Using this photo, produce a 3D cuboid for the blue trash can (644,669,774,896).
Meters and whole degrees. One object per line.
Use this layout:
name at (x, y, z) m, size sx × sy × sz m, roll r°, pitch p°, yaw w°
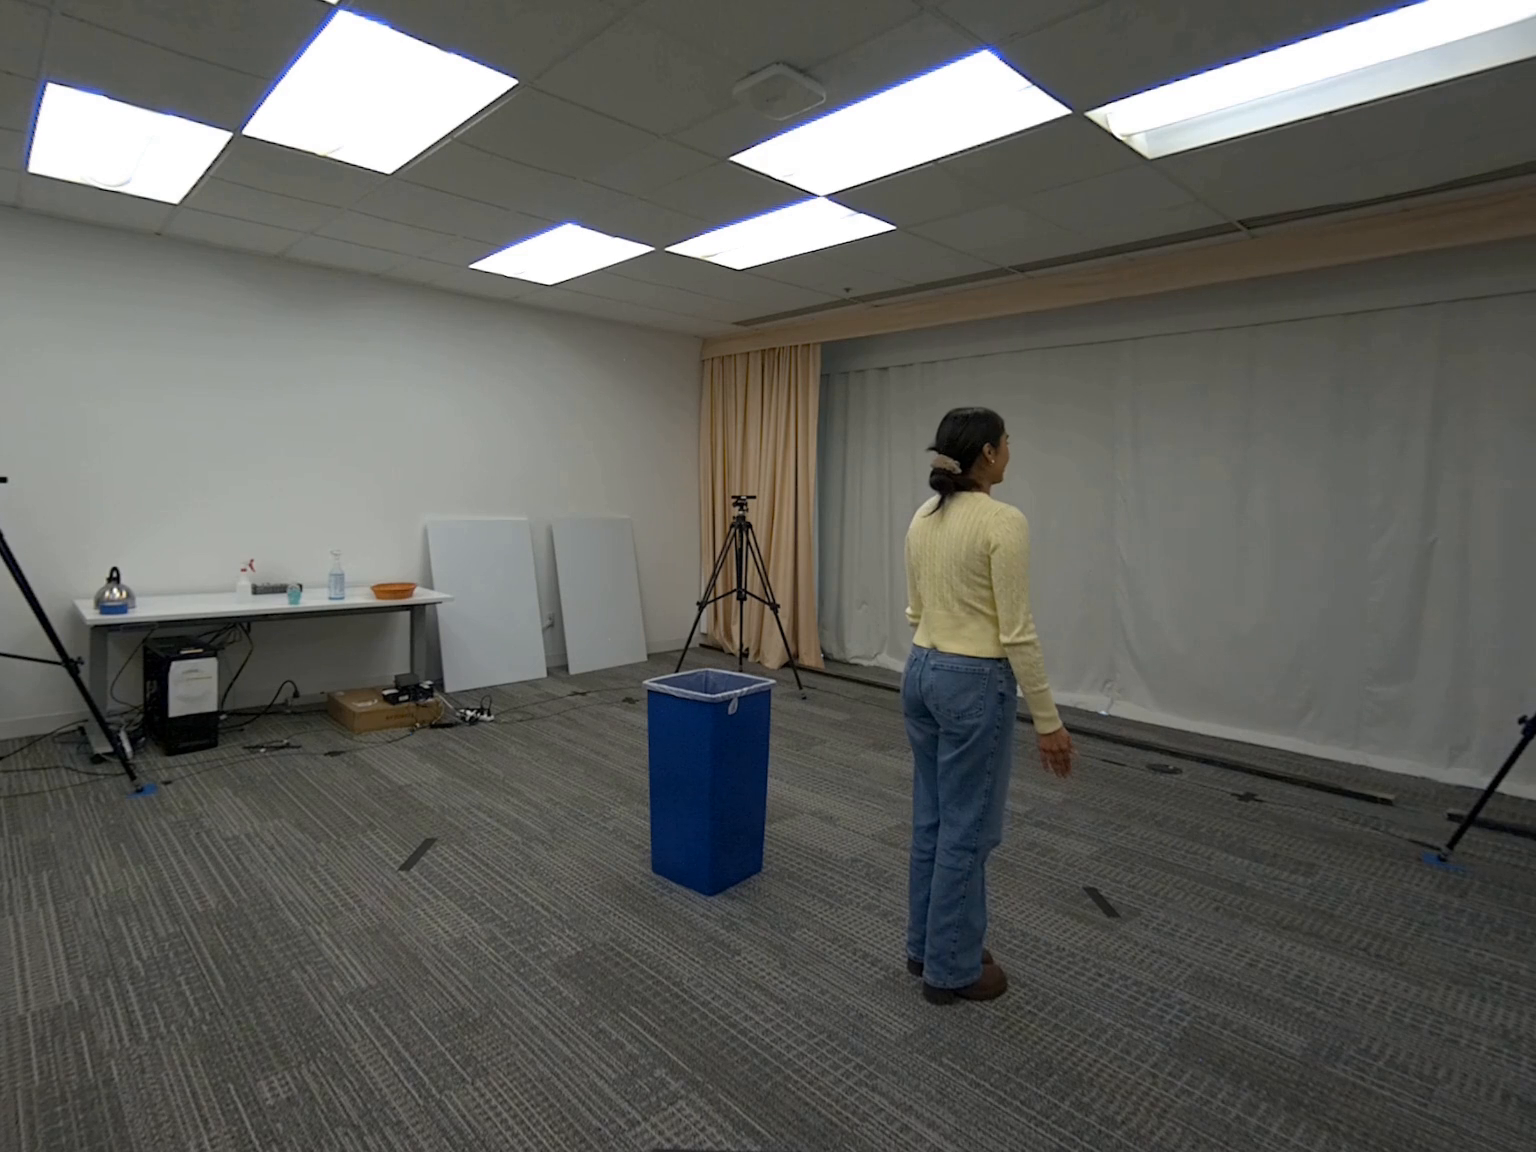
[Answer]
blue trash can at (-0.233, 0.741, 3.111) m, size 0.383 × 0.712 × 0.369 m, roll 4°, pitch 5°, yaw 39°
